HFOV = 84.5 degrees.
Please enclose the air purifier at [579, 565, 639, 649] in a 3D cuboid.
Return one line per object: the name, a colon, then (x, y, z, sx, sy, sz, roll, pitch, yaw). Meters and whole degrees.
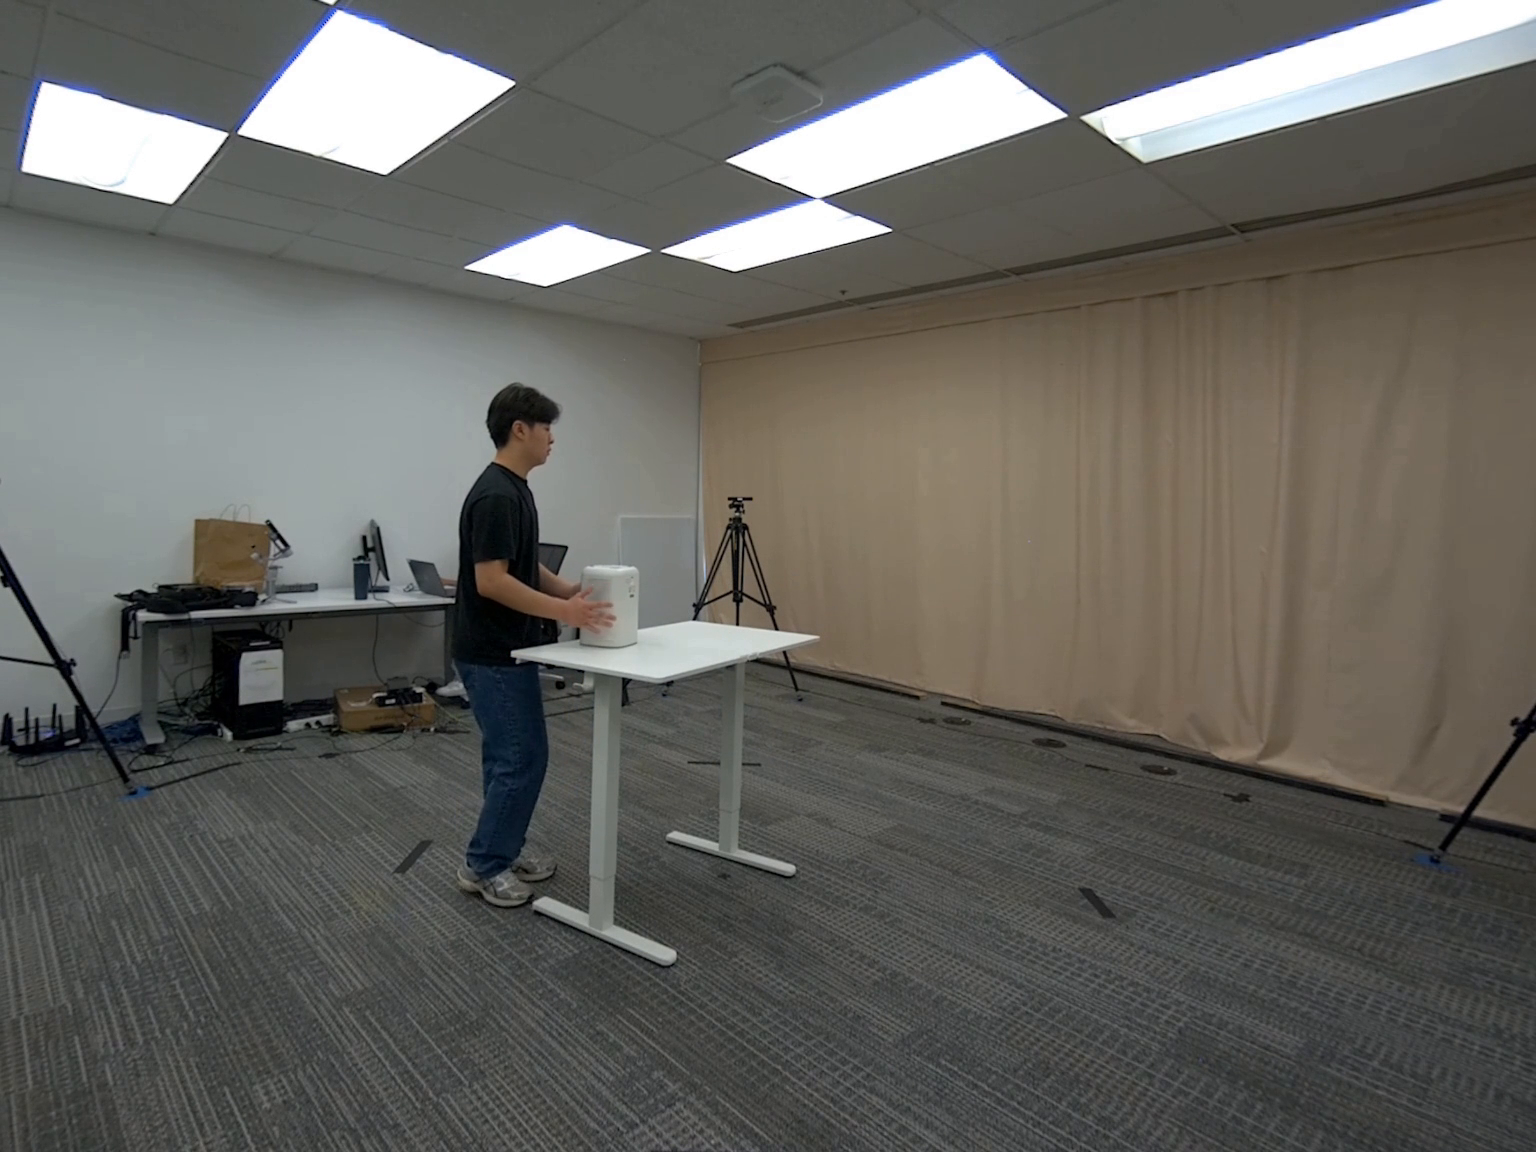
air purifier: (-0.550, 0.099, 2.871, 0.174, 0.265, 0.168, 3, 2, 20)
